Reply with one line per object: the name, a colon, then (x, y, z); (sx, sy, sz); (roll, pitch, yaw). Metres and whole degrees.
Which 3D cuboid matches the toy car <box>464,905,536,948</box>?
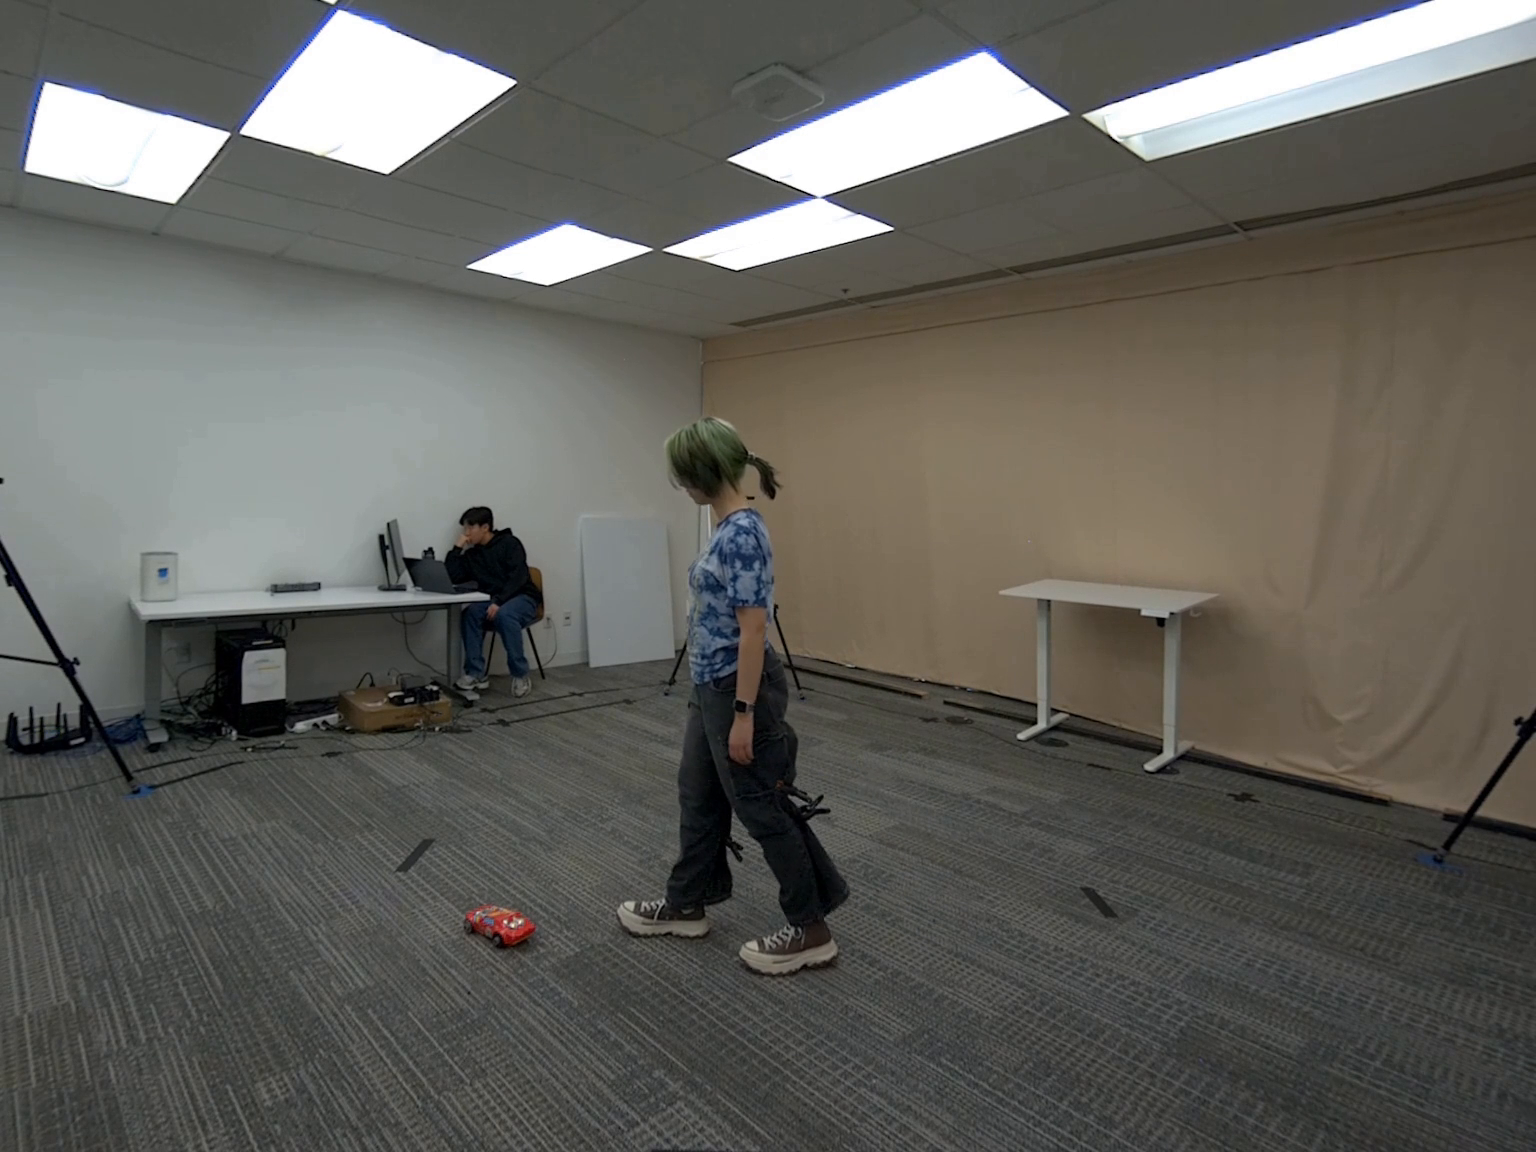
toy car: (-0.840, 1.095, 2.646); (0.259, 0.083, 0.127); (-9, -2, 35)
